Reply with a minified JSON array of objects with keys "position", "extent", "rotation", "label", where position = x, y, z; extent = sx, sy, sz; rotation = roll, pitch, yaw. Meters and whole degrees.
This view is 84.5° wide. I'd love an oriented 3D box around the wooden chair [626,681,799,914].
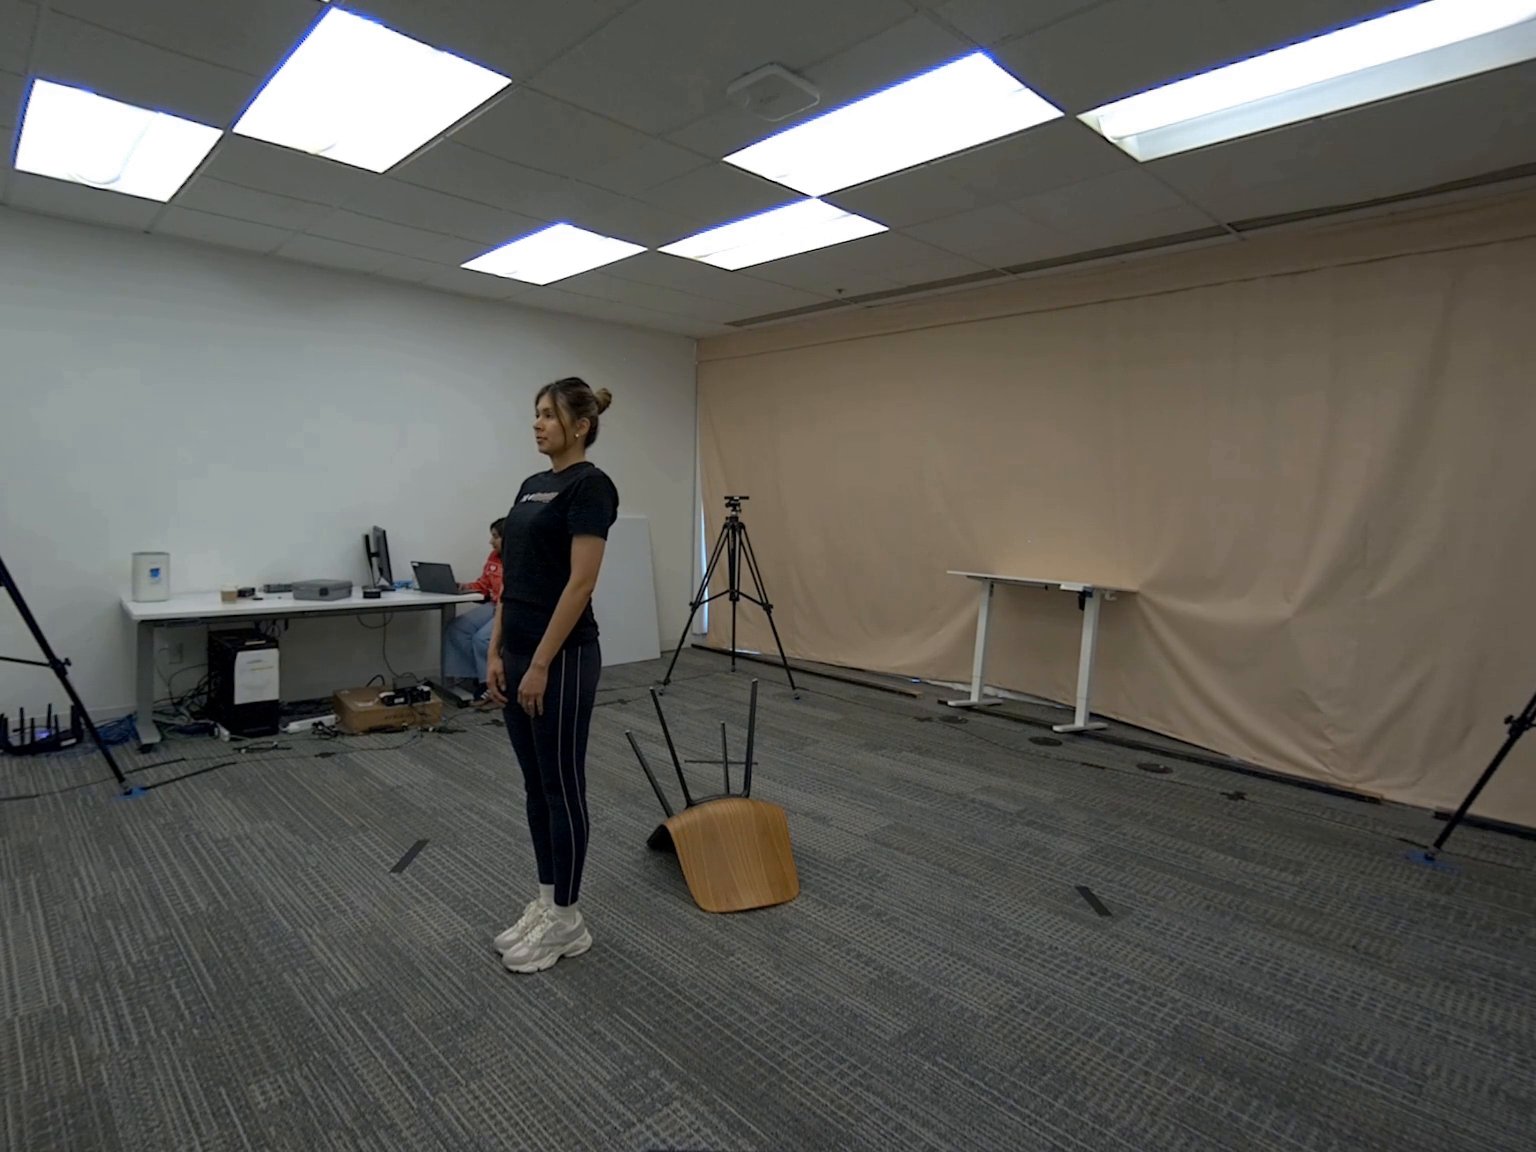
[{"position":[-0.228,0.914,3.274],"extent":[0.470,0.900,0.518],"rotation":[-1,-36,-24],"label":"wooden chair"}]
